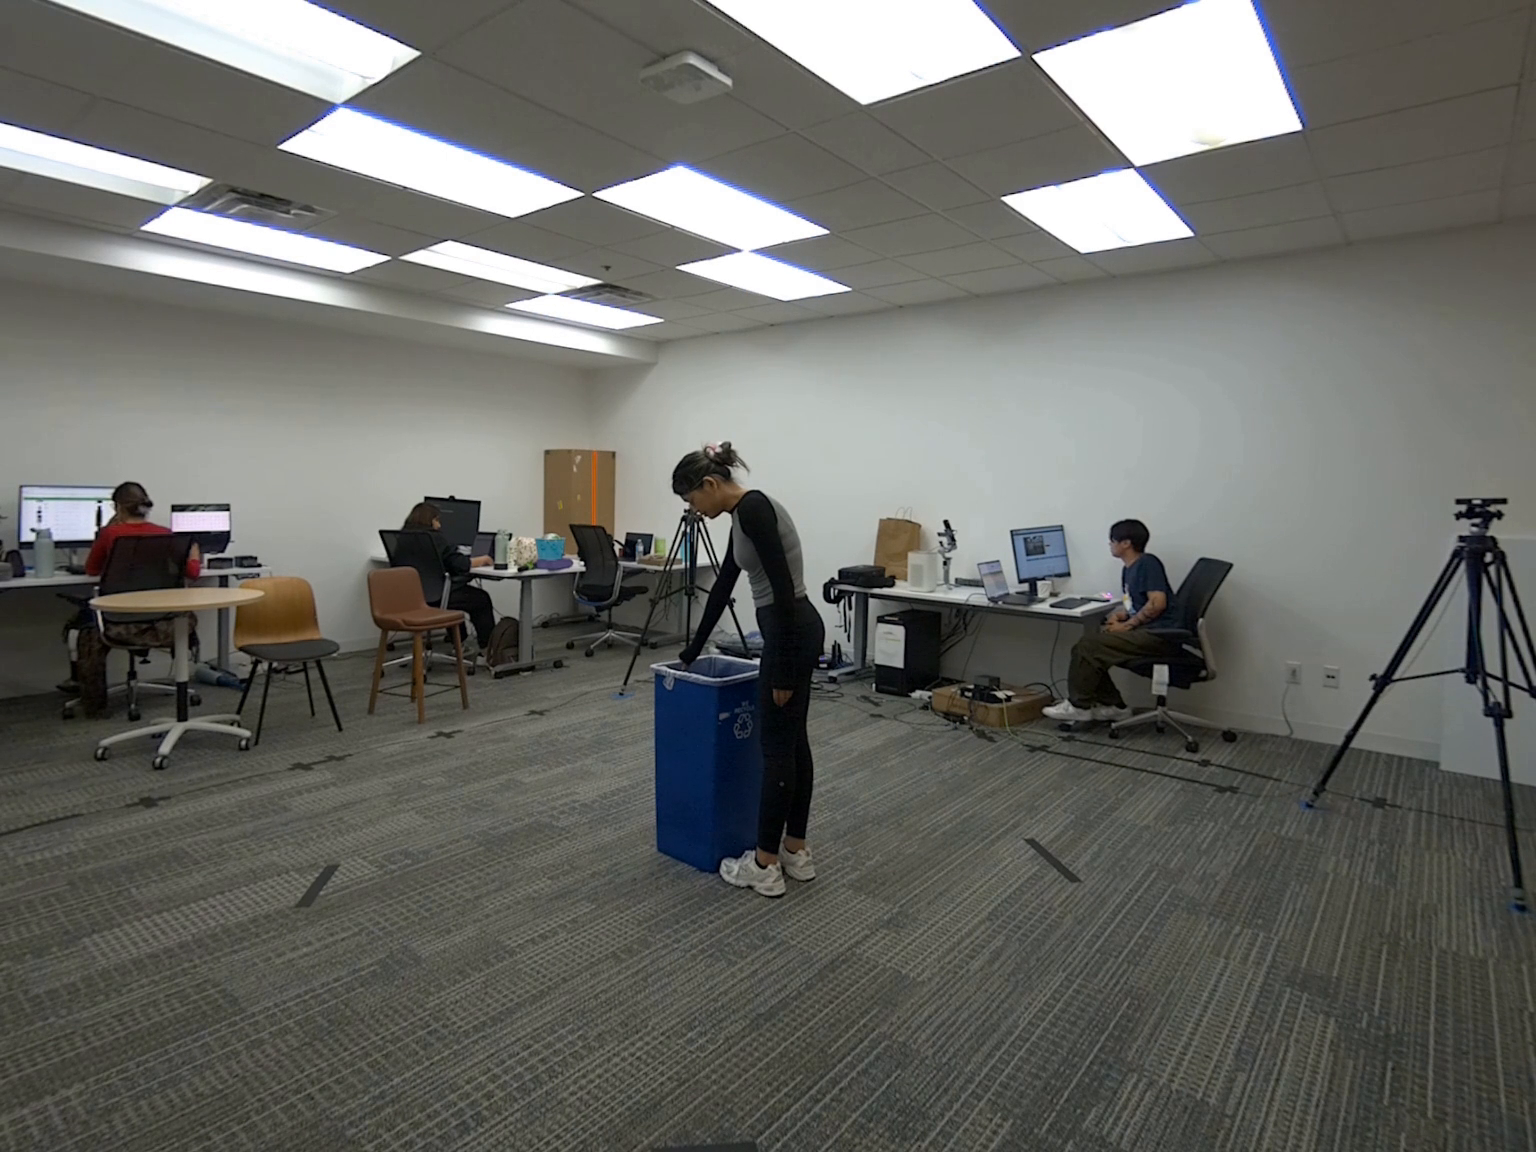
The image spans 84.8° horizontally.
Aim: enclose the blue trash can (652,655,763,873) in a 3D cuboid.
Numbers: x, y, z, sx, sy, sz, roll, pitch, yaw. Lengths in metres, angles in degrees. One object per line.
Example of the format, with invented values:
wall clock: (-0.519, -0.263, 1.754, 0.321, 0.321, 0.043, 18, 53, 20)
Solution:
blue trash can: (-0.222, 0.698, 3.269, 0.391, 0.711, 0.363, 4, 4, 40)
